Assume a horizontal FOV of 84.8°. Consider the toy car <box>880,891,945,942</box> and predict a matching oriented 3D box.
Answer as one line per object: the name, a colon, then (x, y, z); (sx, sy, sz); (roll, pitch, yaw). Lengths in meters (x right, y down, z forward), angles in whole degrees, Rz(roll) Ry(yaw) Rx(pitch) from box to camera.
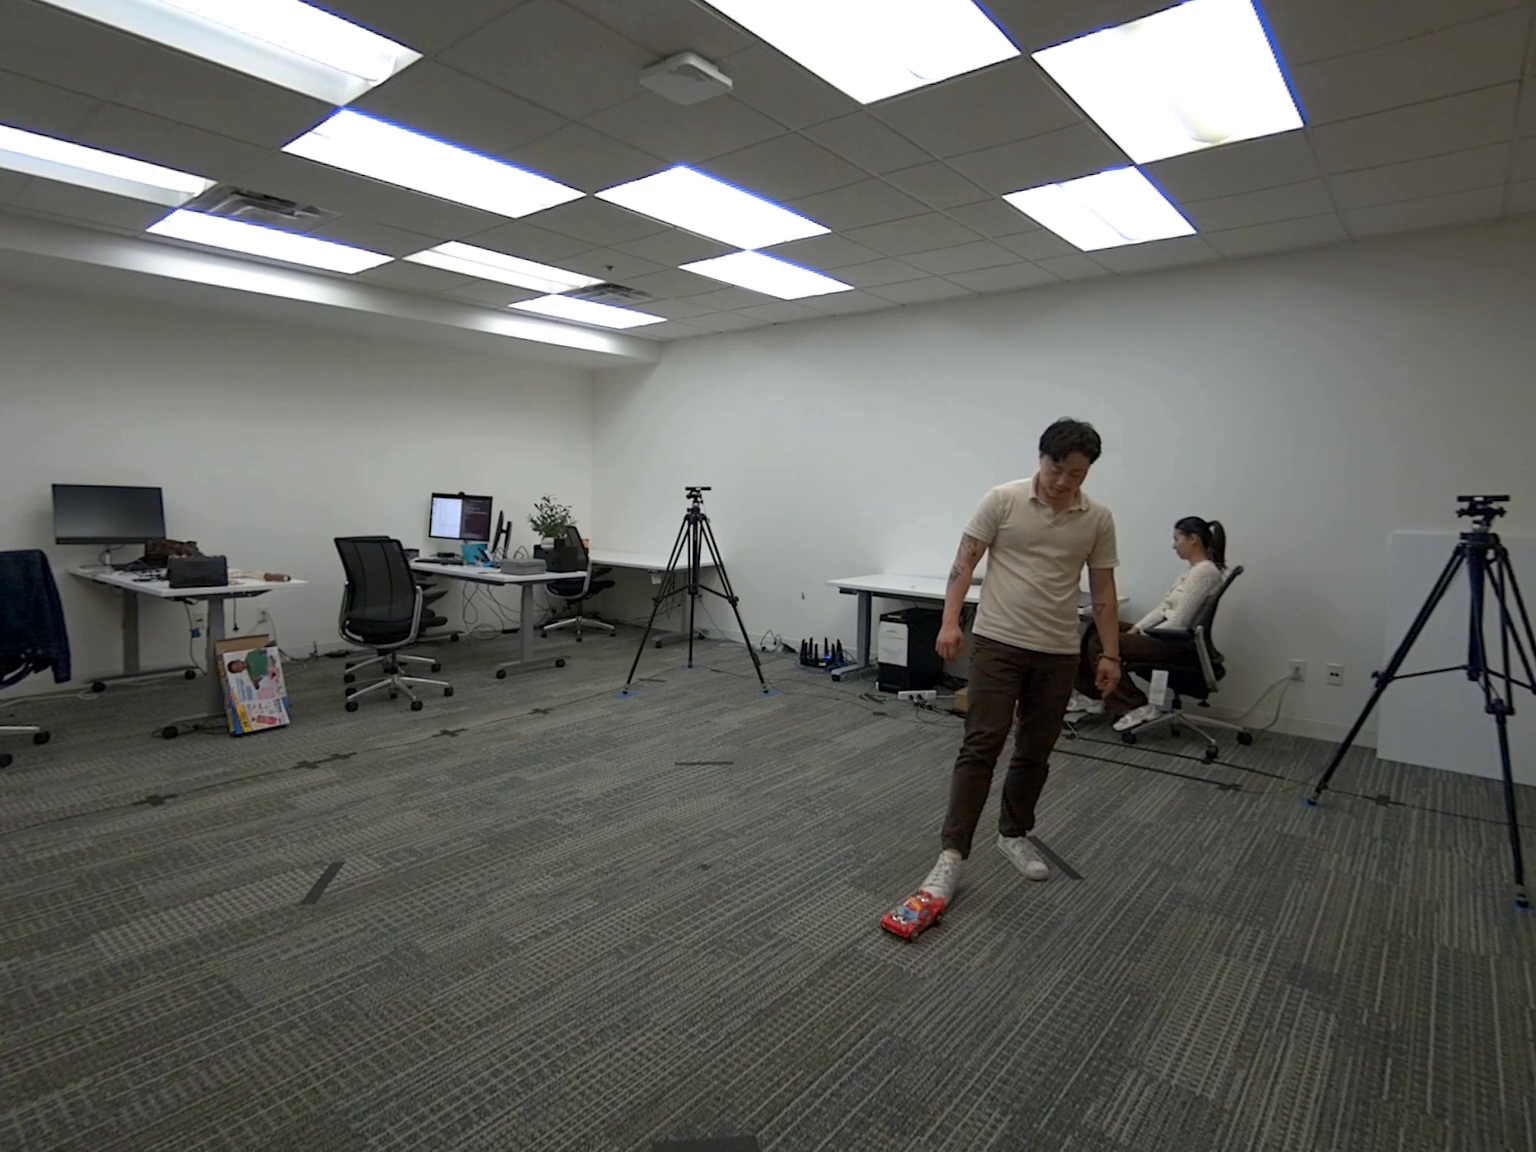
toy car: (0.474, 1.085, 2.731); (0.135, 0.082, 0.249); (5, 18, 43)
